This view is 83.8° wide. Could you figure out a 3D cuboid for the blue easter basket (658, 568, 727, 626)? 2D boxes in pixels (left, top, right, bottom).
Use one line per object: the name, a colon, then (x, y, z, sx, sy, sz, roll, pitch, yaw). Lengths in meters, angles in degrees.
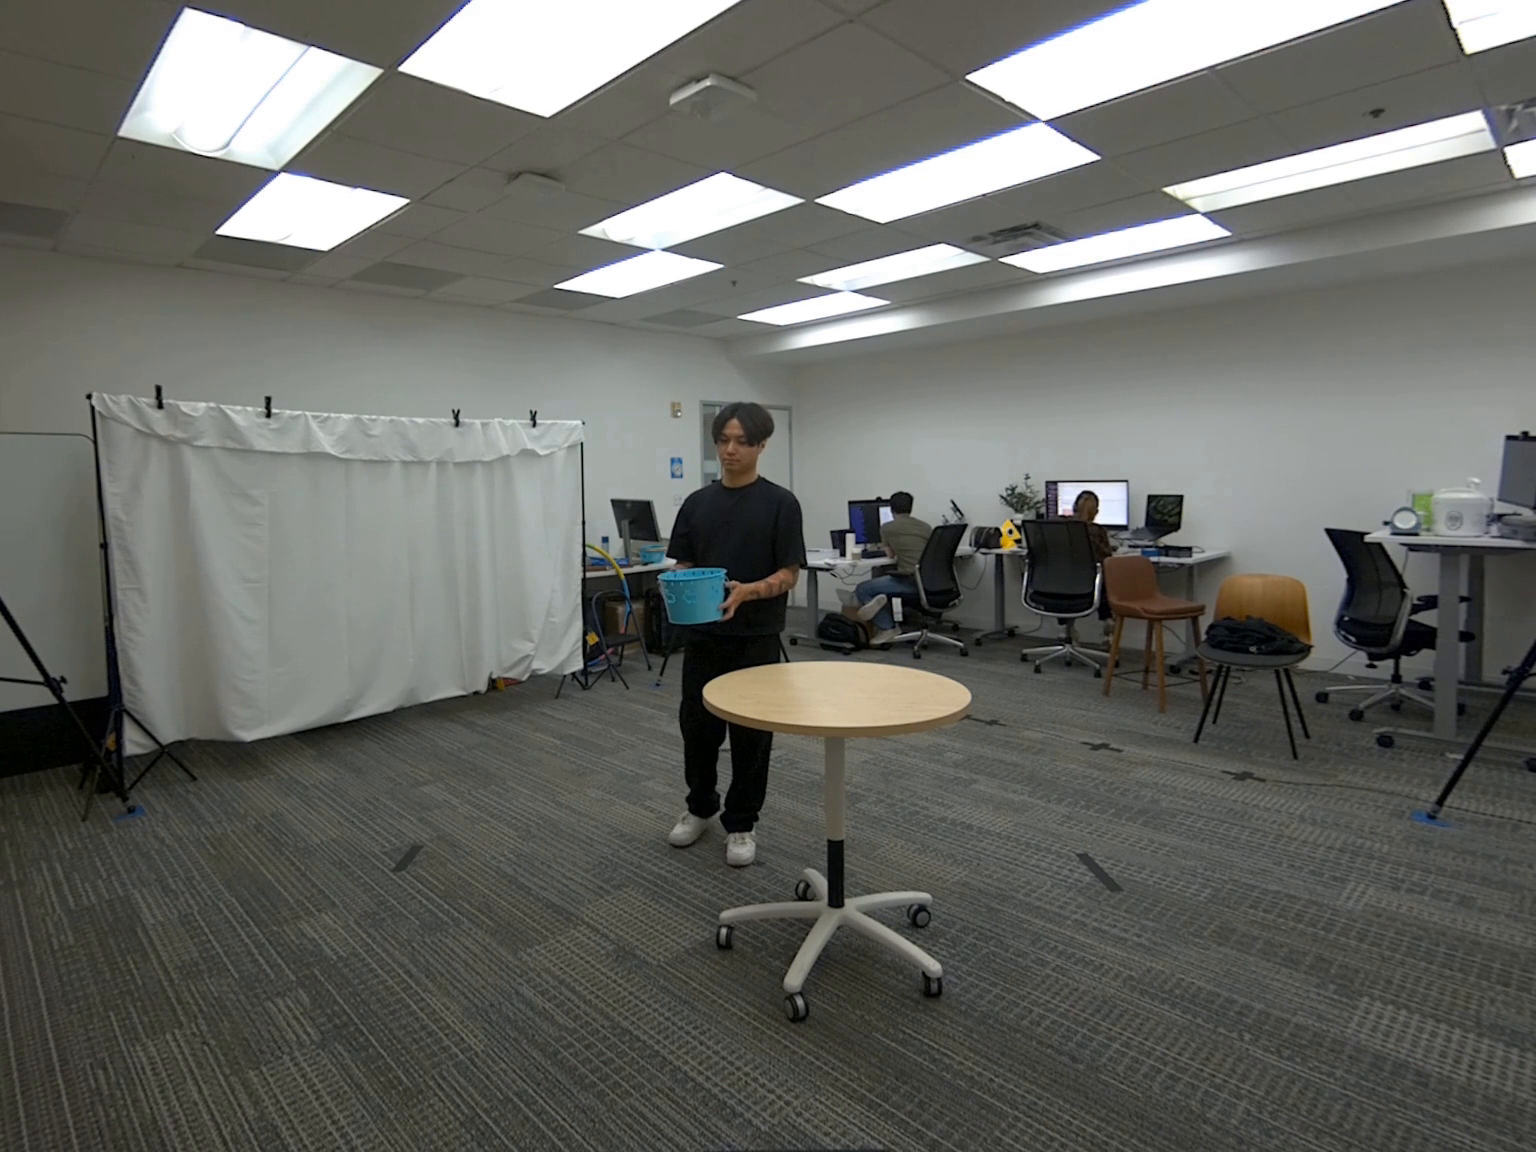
blue easter basket: (-0.255, 0.070, 2.852, 0.243, 0.155, 0.245, -5, 7, -1)
